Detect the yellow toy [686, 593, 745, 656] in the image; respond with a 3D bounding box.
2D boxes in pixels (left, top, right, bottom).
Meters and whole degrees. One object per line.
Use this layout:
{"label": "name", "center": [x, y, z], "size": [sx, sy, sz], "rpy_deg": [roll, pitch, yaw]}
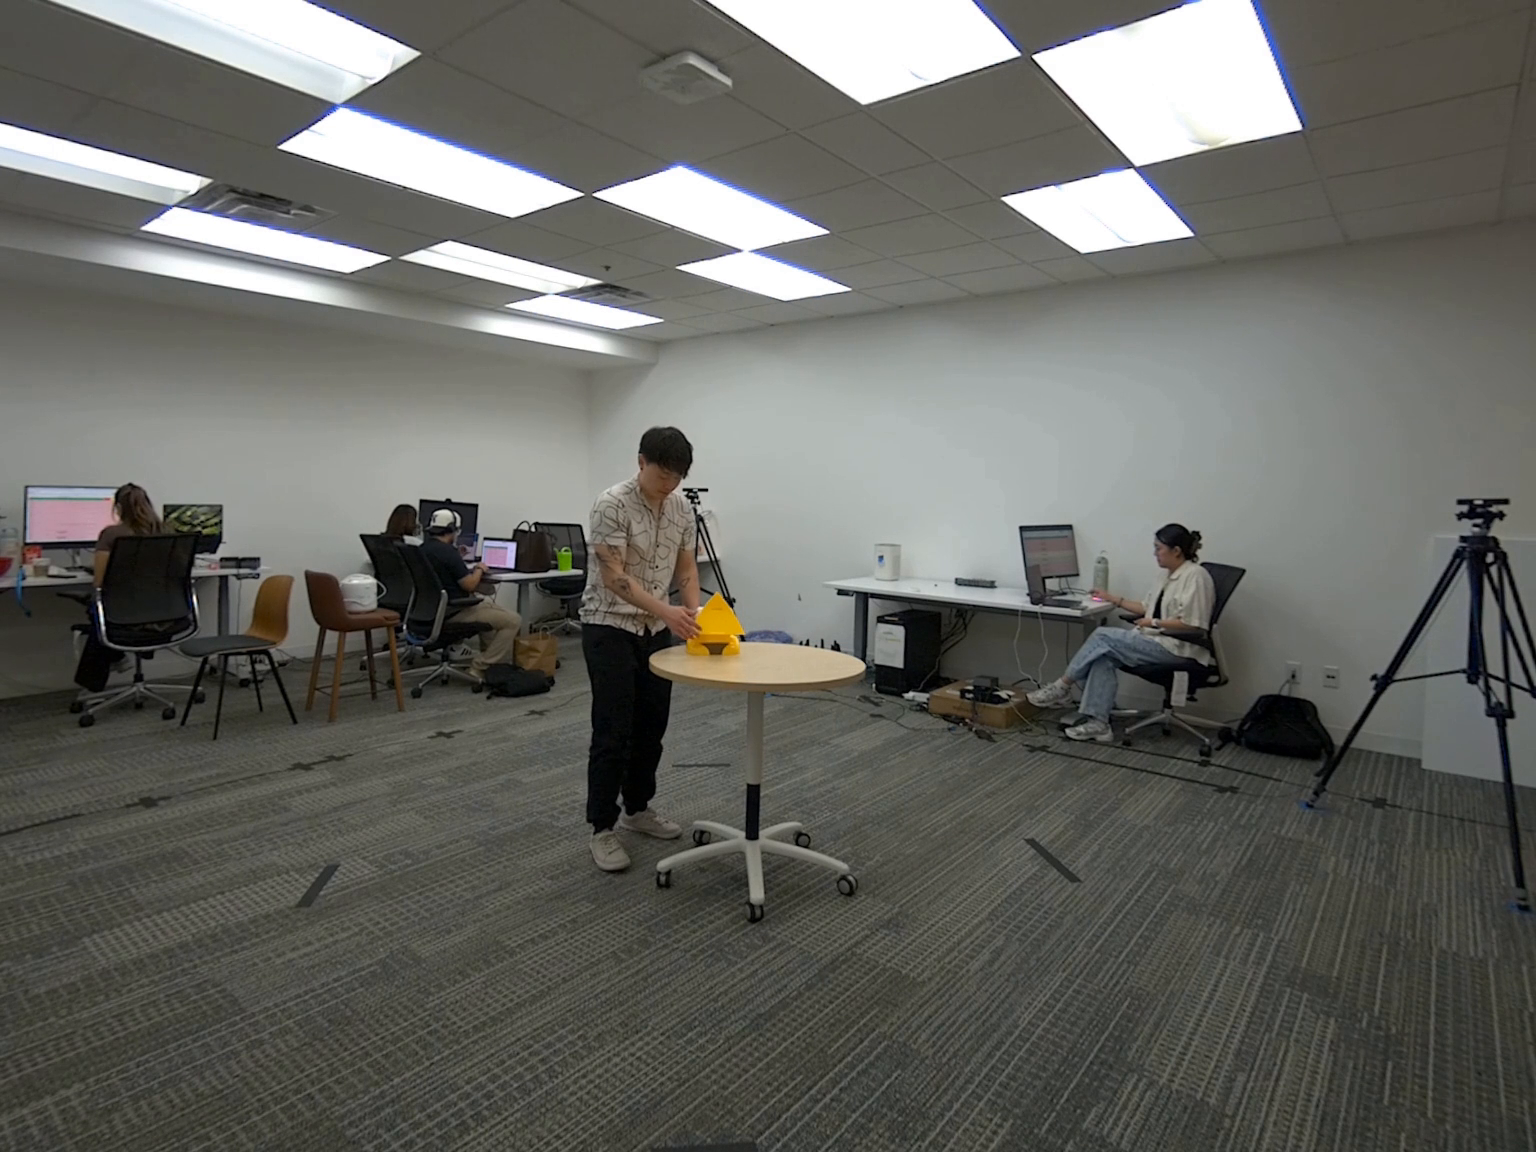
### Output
{"label": "yellow toy", "center": [-0.212, 0.167, 3.172], "size": [0.203, 0.230, 0.195], "rpy_deg": [-1, 4, -9]}
